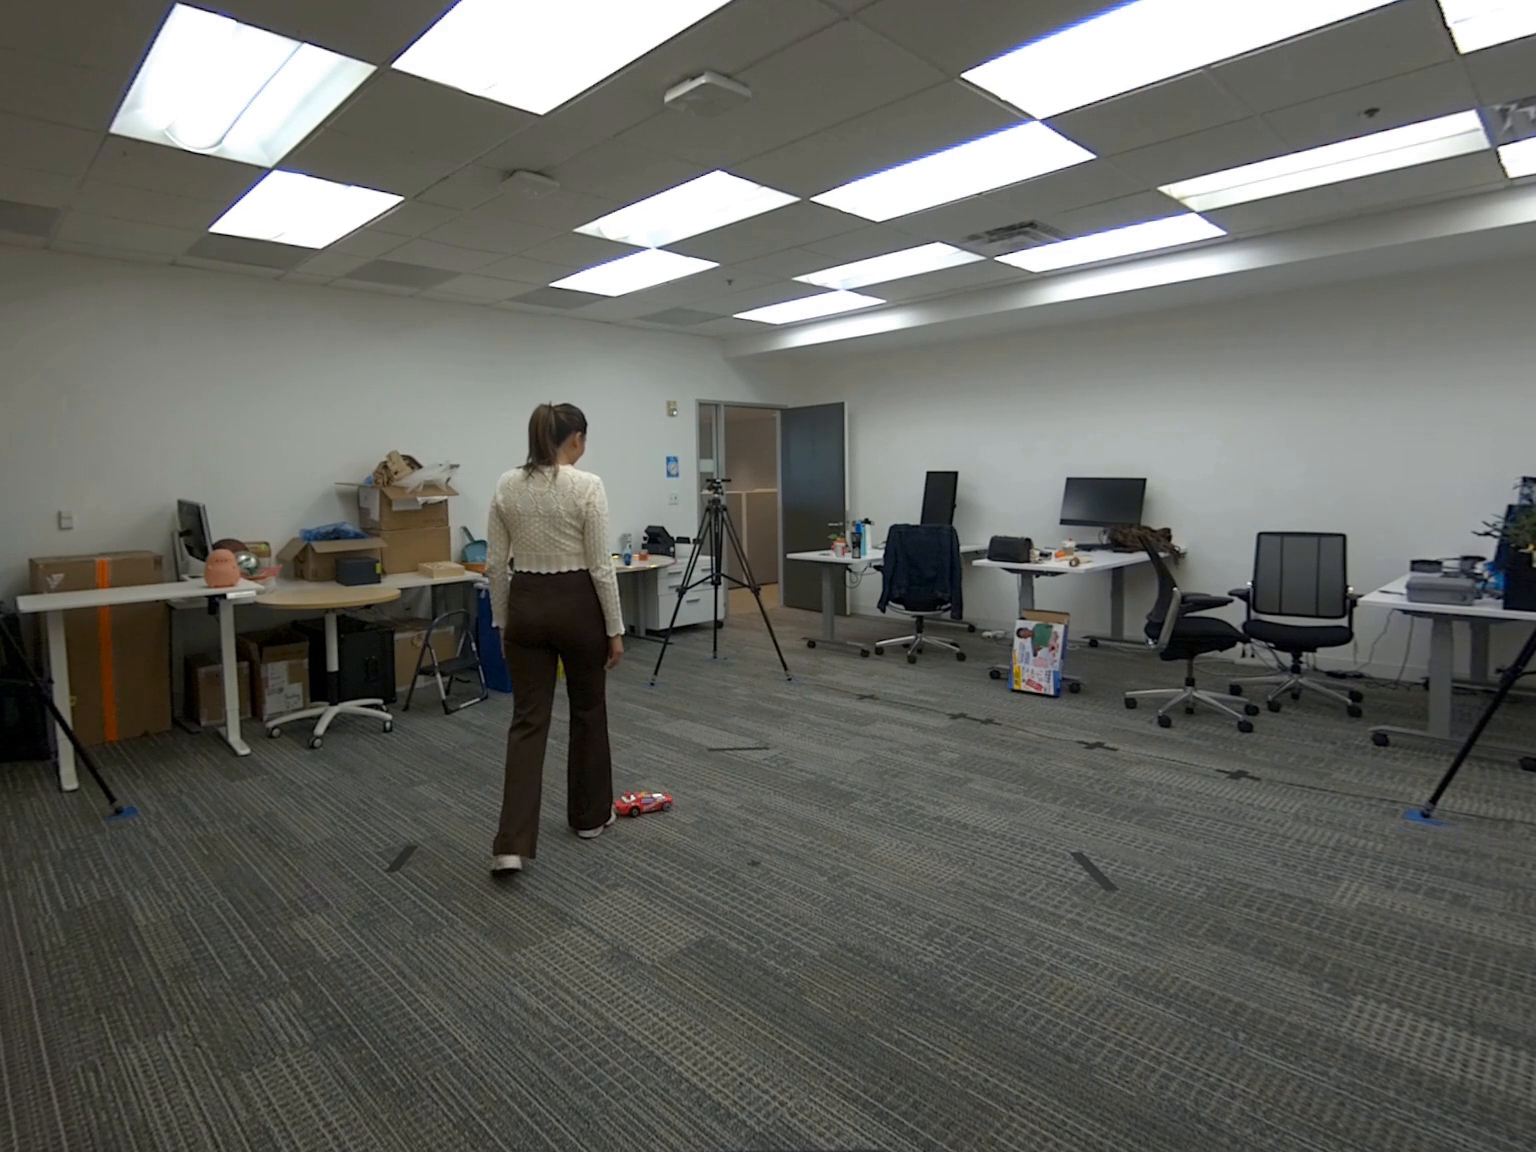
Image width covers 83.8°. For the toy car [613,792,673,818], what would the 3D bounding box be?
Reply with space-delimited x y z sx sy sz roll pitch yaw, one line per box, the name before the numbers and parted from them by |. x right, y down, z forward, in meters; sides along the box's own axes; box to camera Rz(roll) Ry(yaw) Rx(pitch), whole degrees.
toy car | -0.539 0.963 3.619 0.248 0.083 0.133 9 -1 -25
